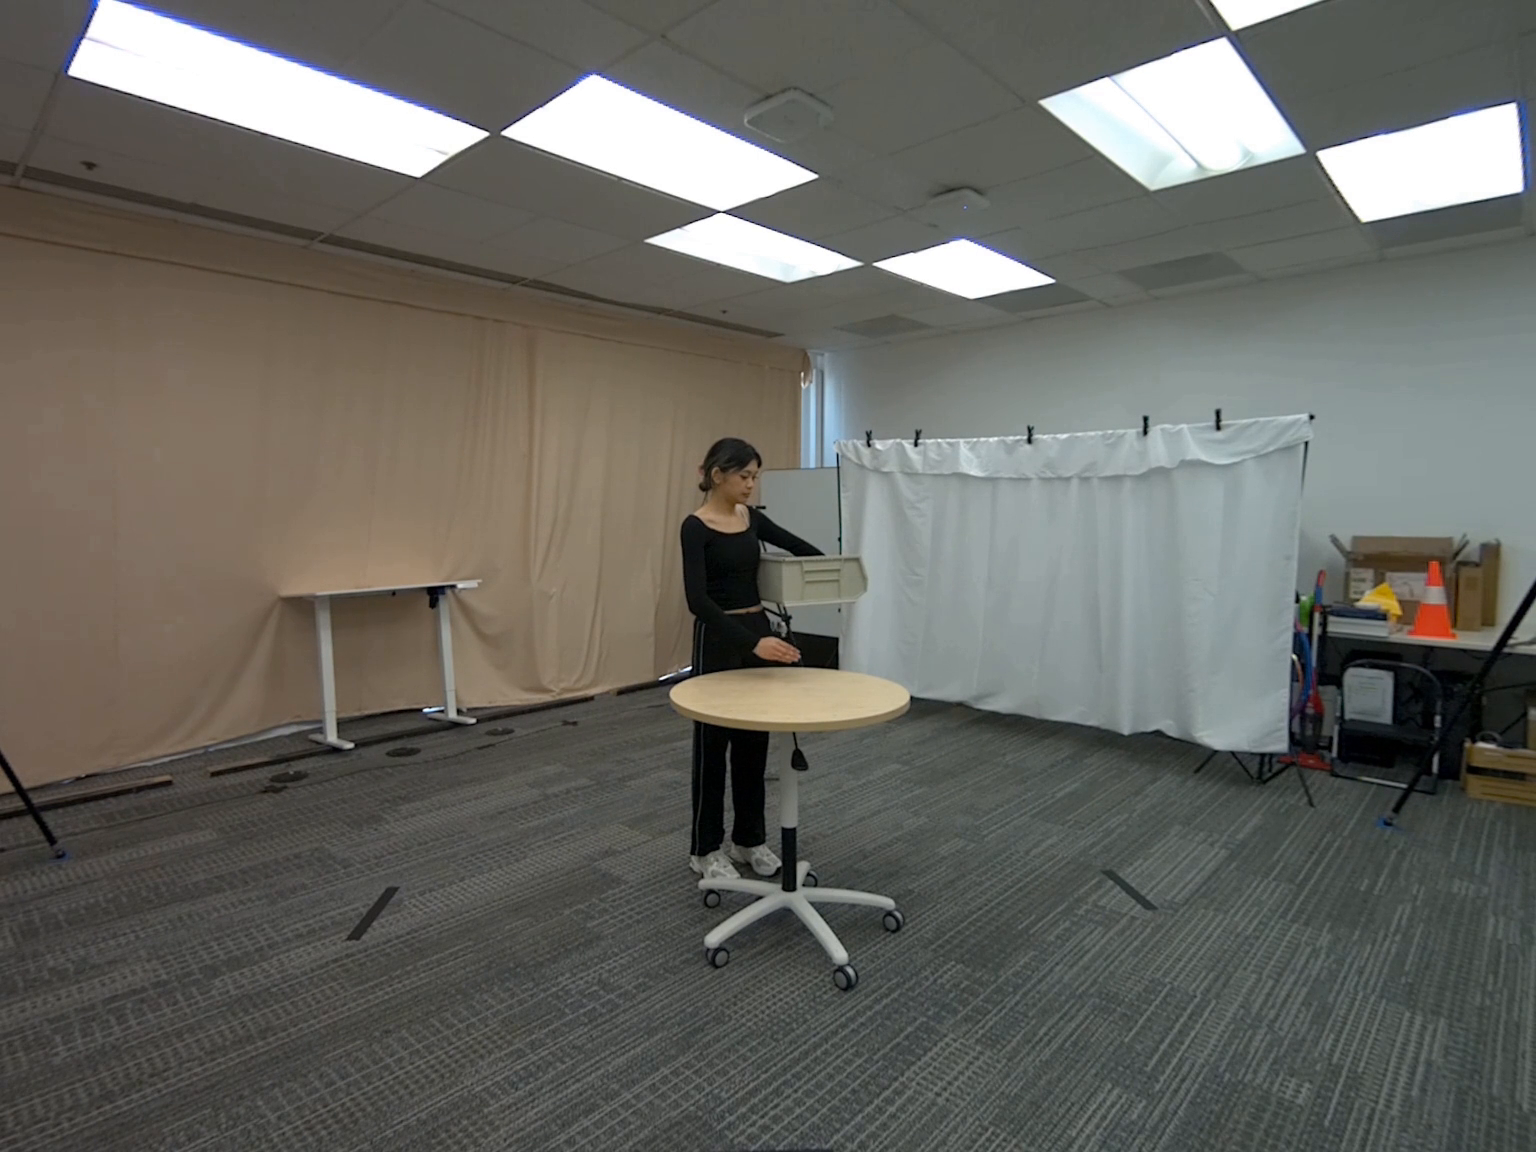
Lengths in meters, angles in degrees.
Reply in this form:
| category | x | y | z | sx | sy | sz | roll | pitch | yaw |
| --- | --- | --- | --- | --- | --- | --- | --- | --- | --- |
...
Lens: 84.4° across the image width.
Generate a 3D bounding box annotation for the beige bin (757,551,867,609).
| category | x | y | z | sx | sy | sz | roll | pitch | yaw |
| --- | --- | --- | --- | --- | --- | --- | --- | --- | --- |
| beige bin | 0.125 | 0.007 | 3.306 | 0.368 | 0.188 | 0.434 | -2 | 4 | -28 |
